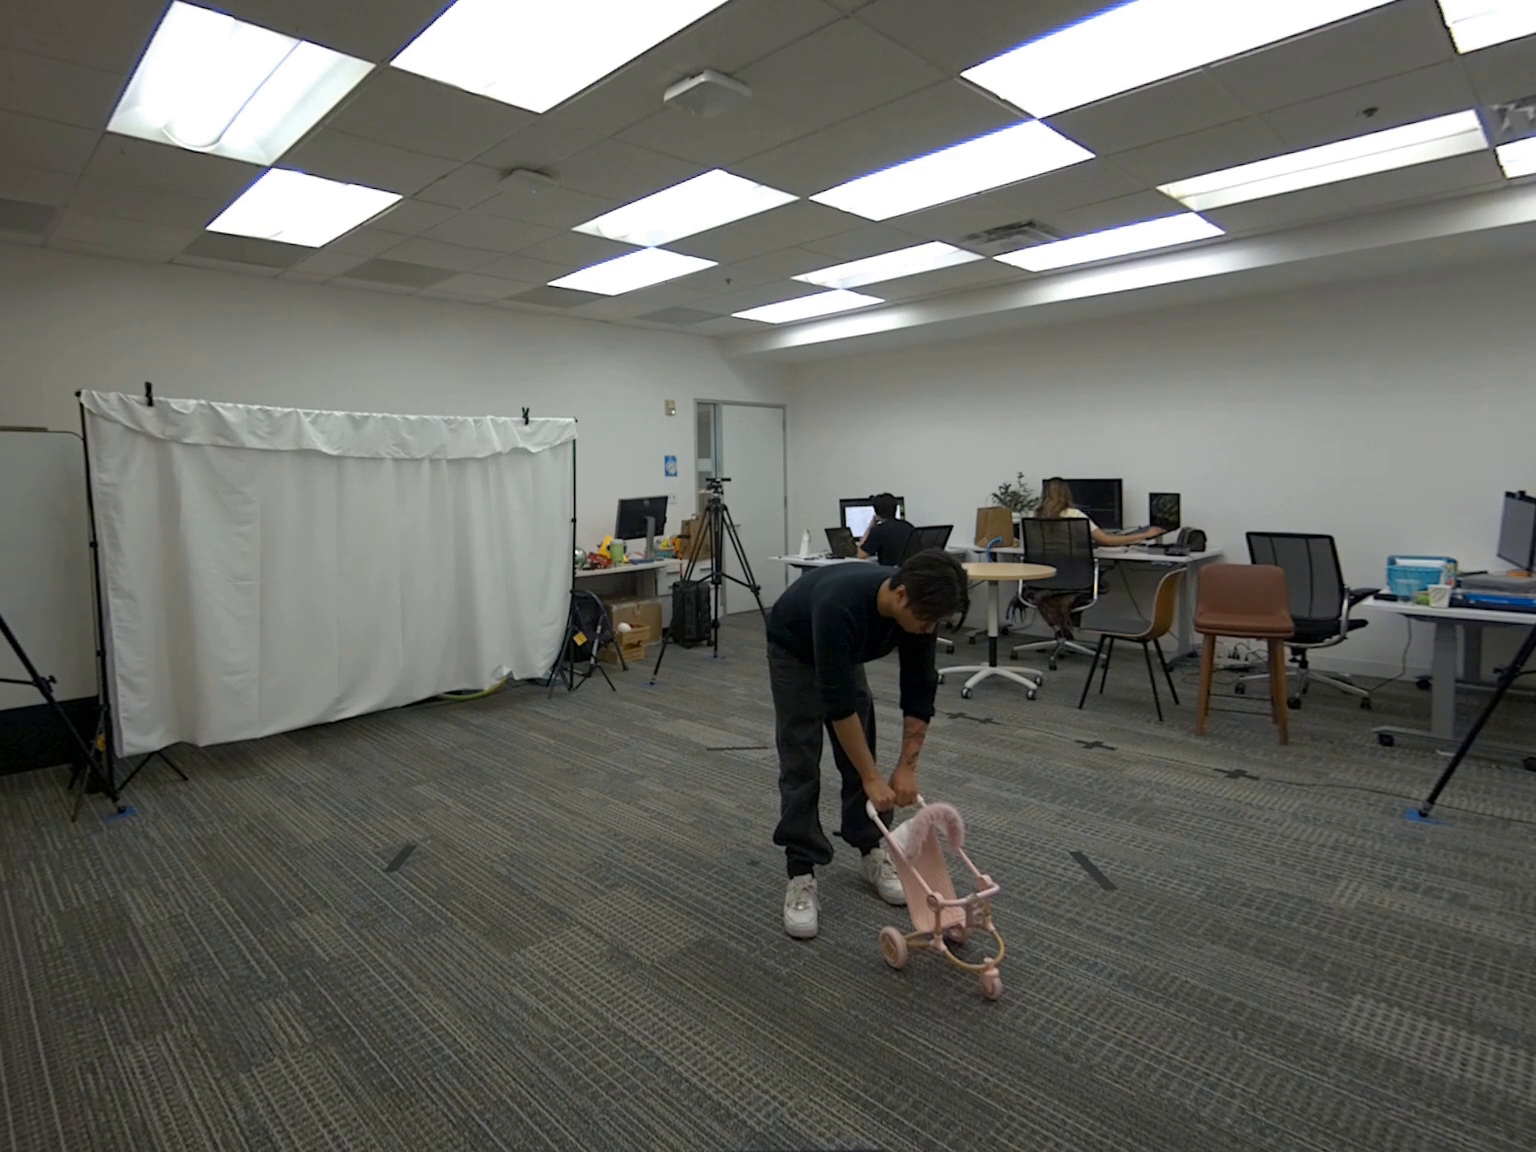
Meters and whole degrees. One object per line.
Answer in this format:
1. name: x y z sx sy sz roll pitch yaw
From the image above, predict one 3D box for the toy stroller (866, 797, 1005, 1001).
1. toy stroller: 0.496 0.889 2.429 0.275 0.541 0.345 -3 -12 -27
